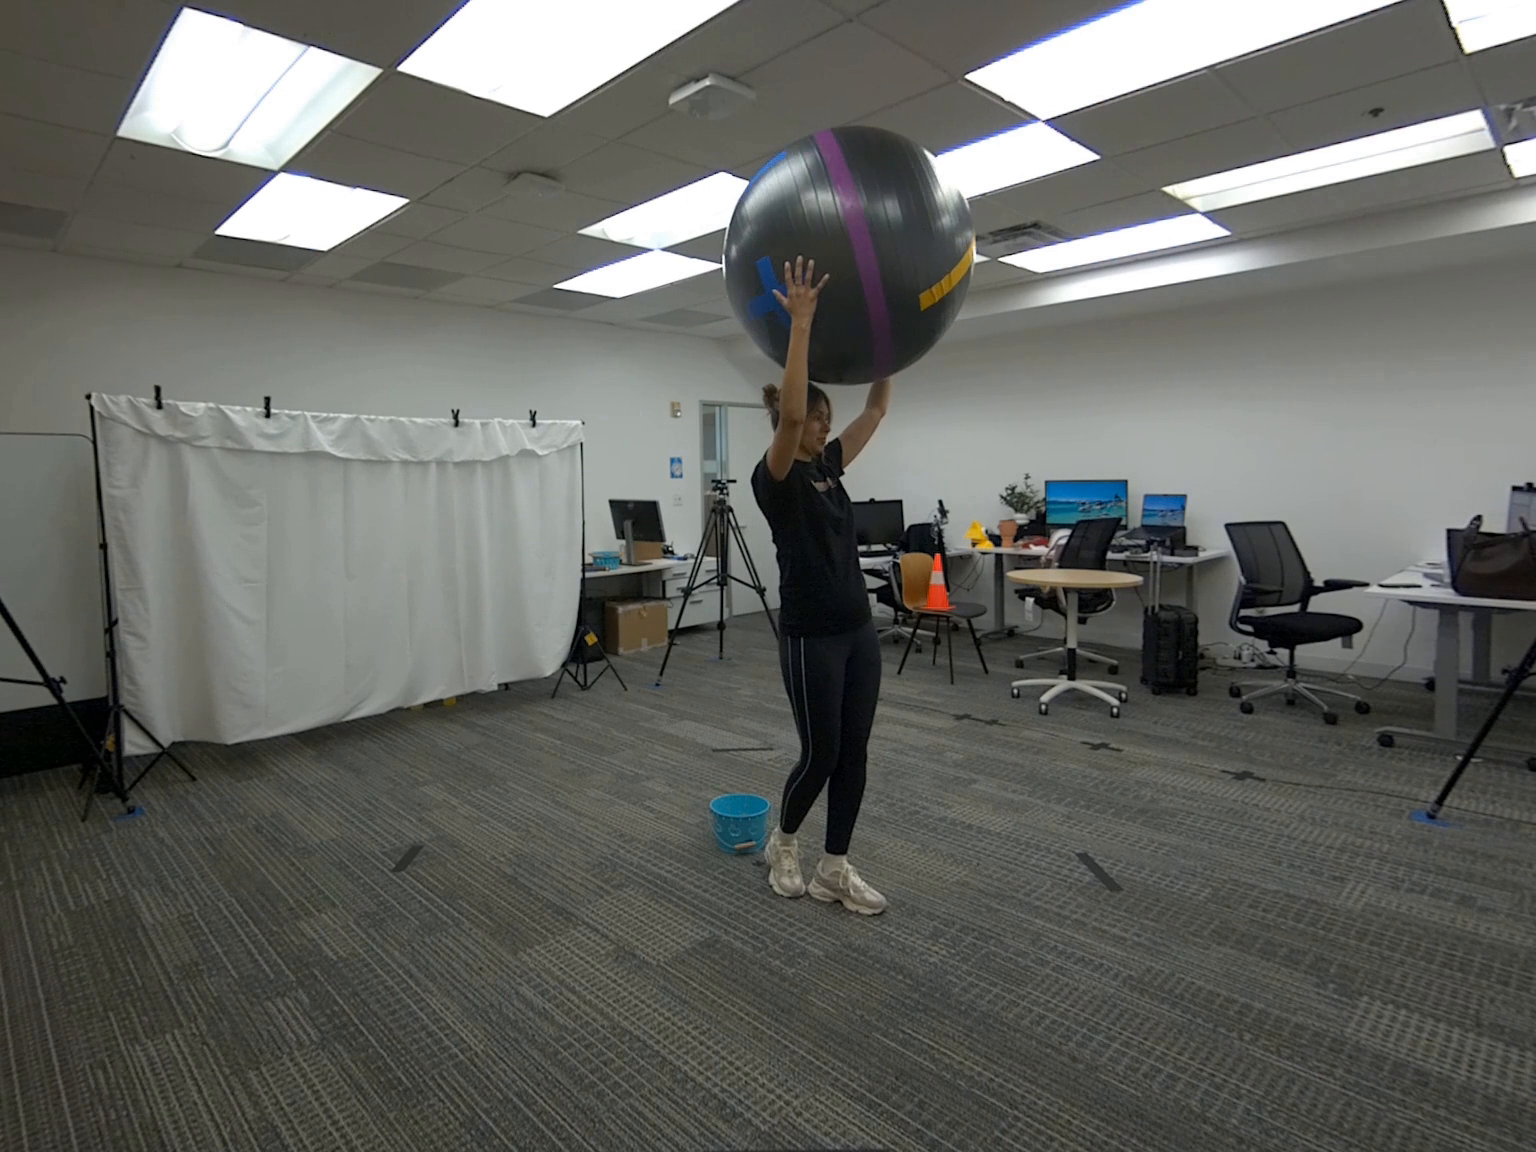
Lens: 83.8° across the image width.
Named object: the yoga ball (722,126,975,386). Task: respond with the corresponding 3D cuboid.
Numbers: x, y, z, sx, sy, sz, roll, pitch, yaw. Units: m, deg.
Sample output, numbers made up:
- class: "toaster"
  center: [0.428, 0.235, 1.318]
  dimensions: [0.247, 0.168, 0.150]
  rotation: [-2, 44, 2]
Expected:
- class: "yoga ball"
  center: [0.241, -0.965, 2.625]
  dimensions: [0.757, 0.755, 0.762]
  rotation: [-1, 5, -2]
